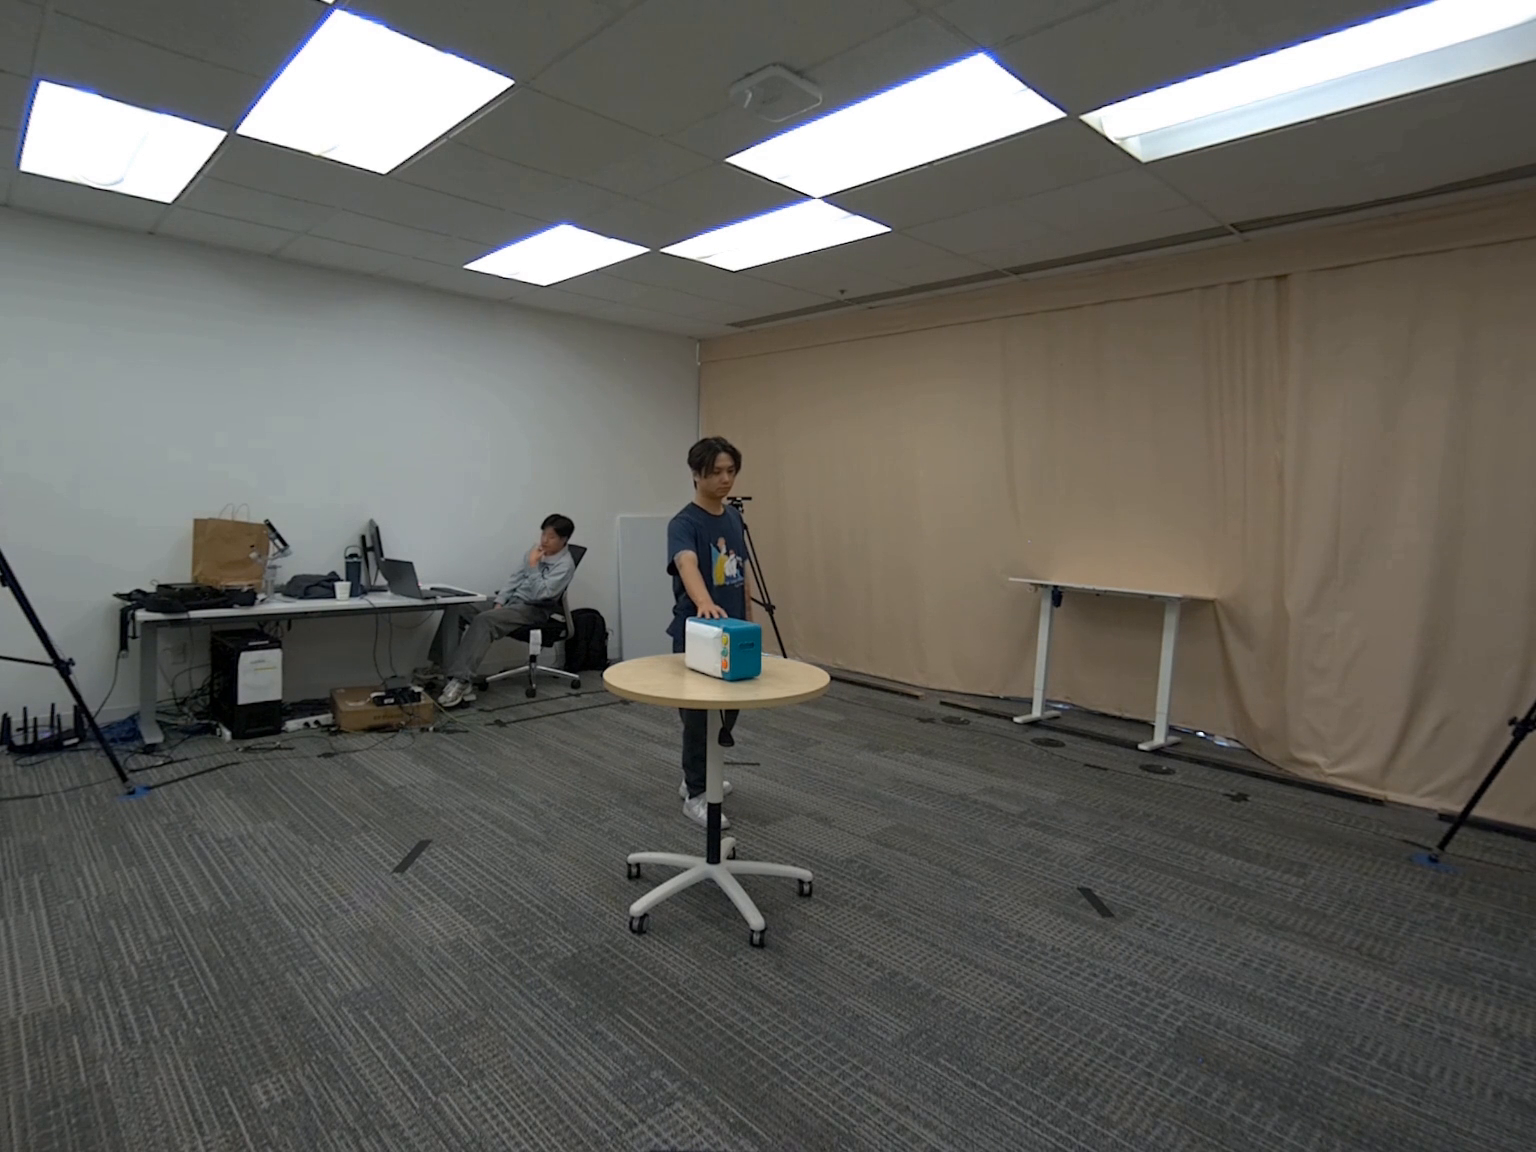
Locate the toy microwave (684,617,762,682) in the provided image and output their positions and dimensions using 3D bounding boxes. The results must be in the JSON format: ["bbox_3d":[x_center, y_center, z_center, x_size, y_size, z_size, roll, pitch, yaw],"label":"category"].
[{"bbox_3d":[-0.169,0.243,2.844,0.149,0.183,0.293,-2,5,-36],"label":"toy microwave"}]
